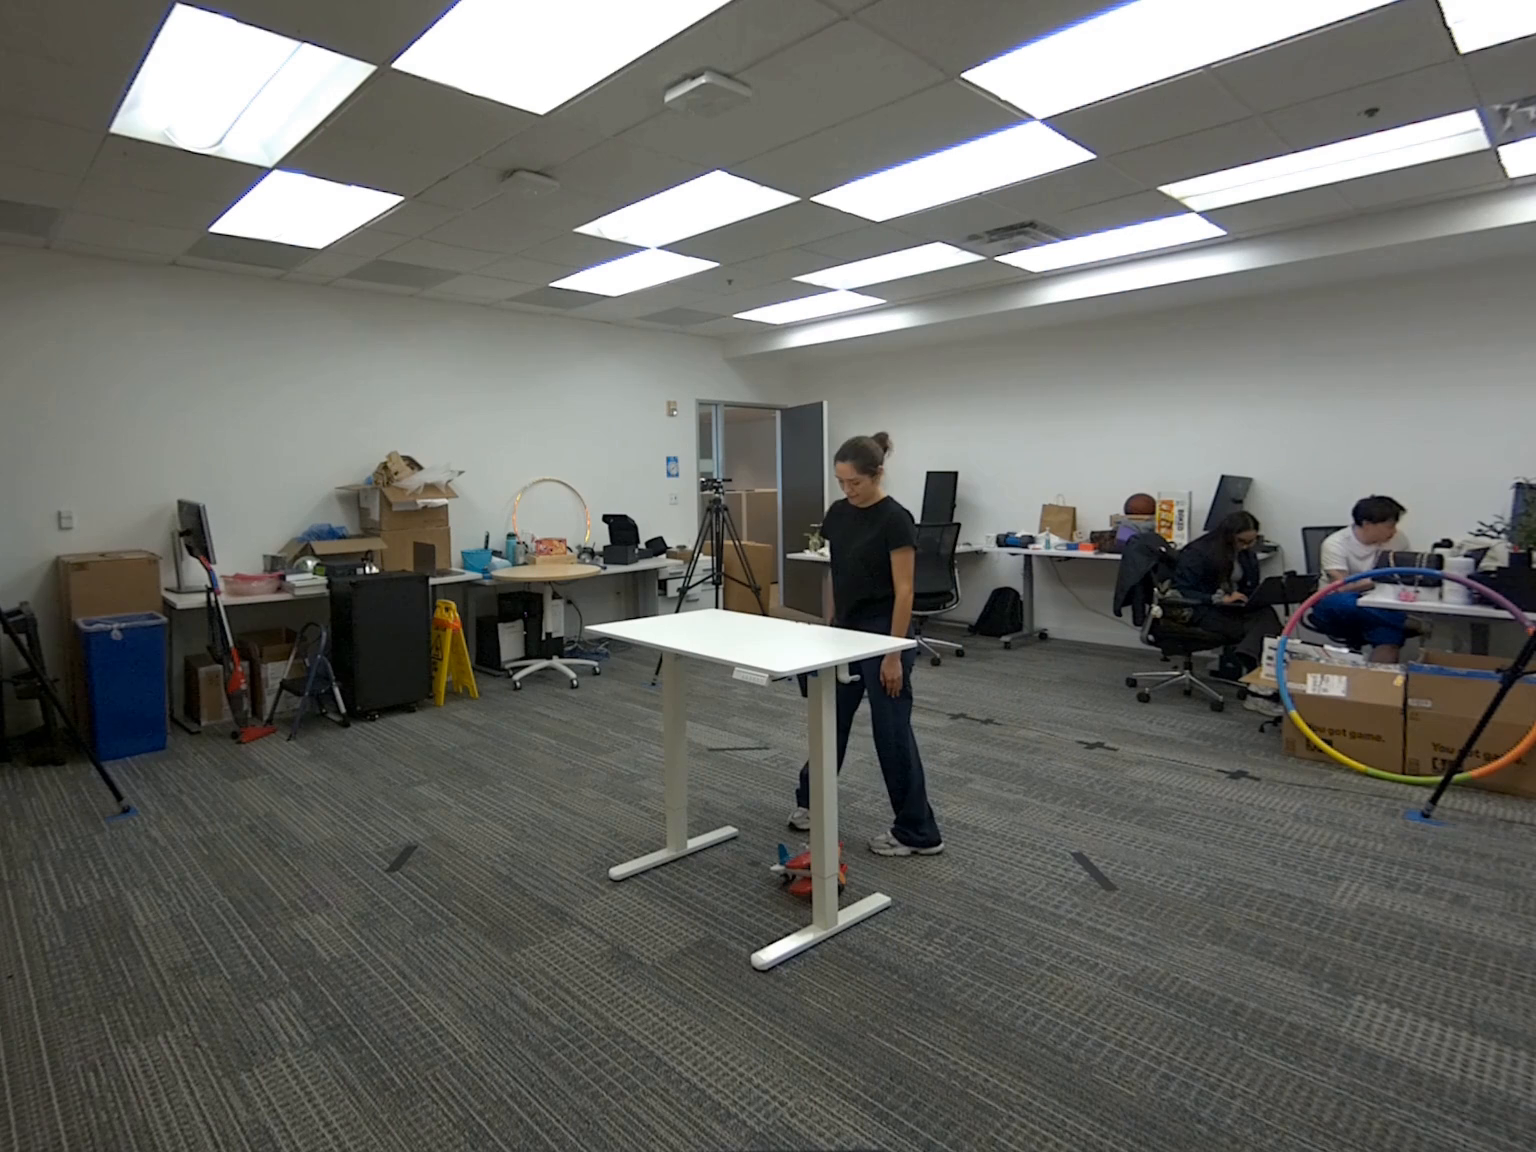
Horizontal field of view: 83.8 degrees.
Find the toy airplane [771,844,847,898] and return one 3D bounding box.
[{"bbox_3d":[0.132,0.996,2.884,0.263,0.155,0.248,2,7,16],"label":"toy airplane"}]
